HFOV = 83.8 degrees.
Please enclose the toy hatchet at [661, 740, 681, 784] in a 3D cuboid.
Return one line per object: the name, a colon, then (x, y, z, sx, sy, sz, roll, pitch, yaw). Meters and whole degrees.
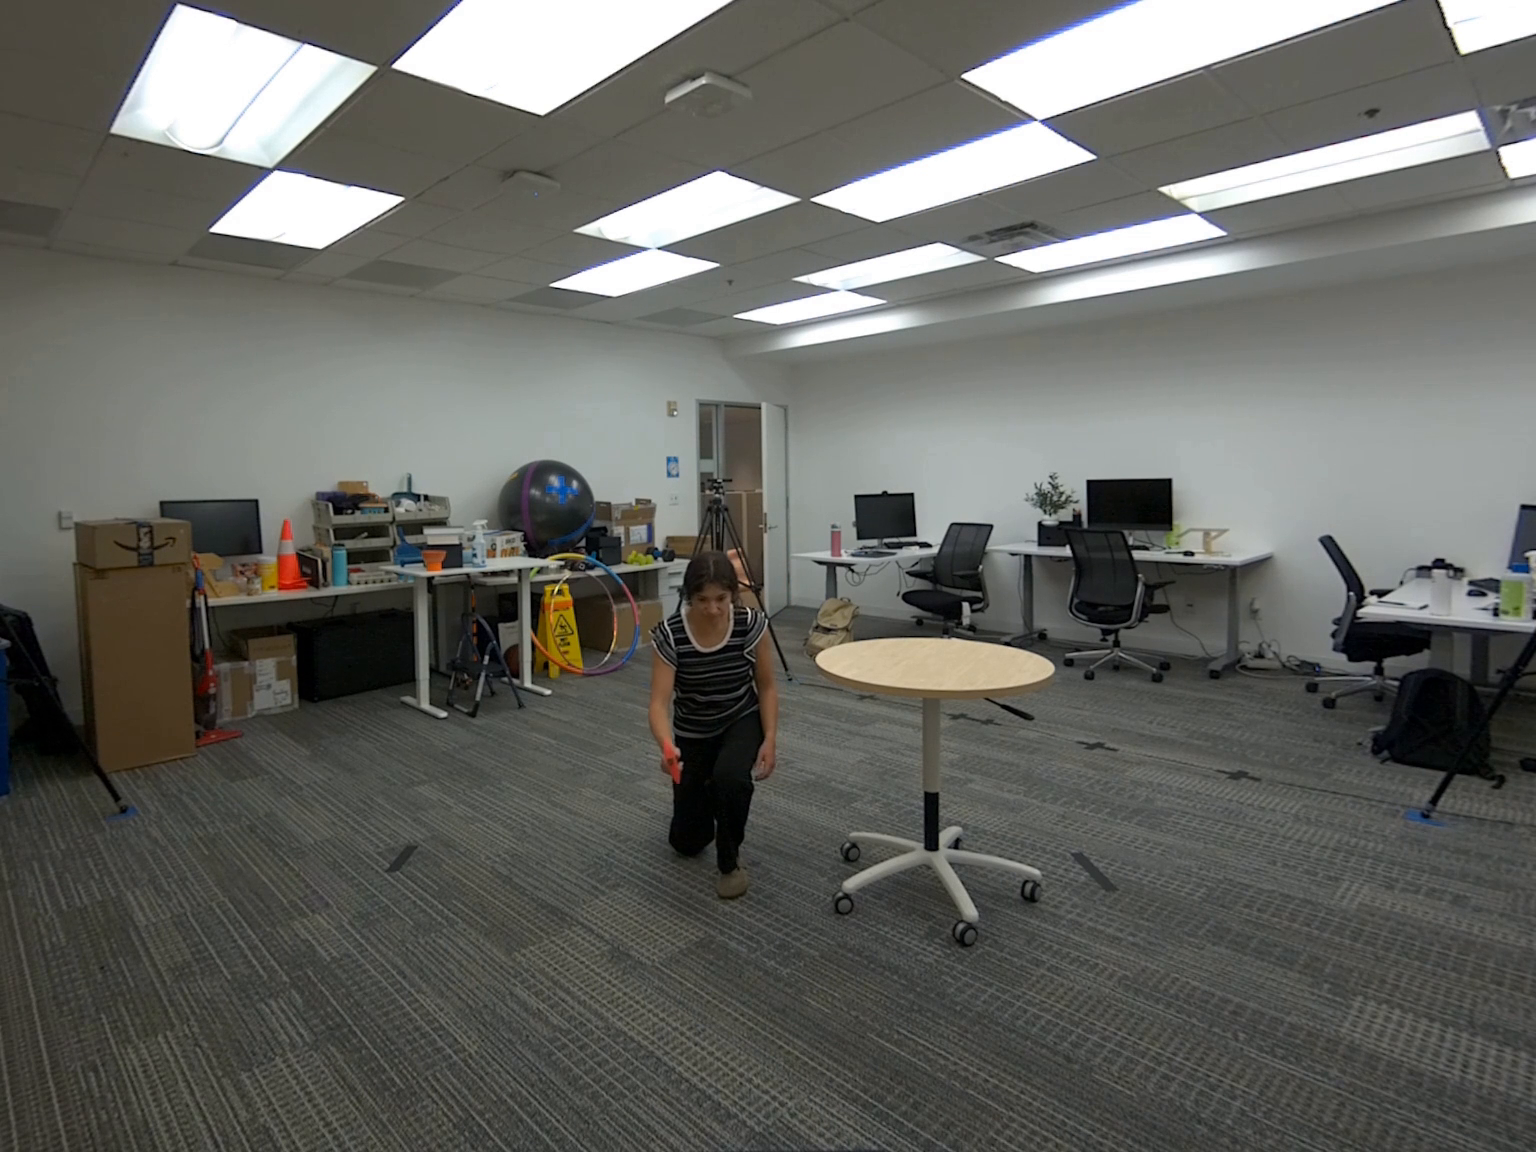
toy hatchet: (-0.289, 0.594, 2.603, 0.029, 0.135, 0.263, -19, -26, -8)
